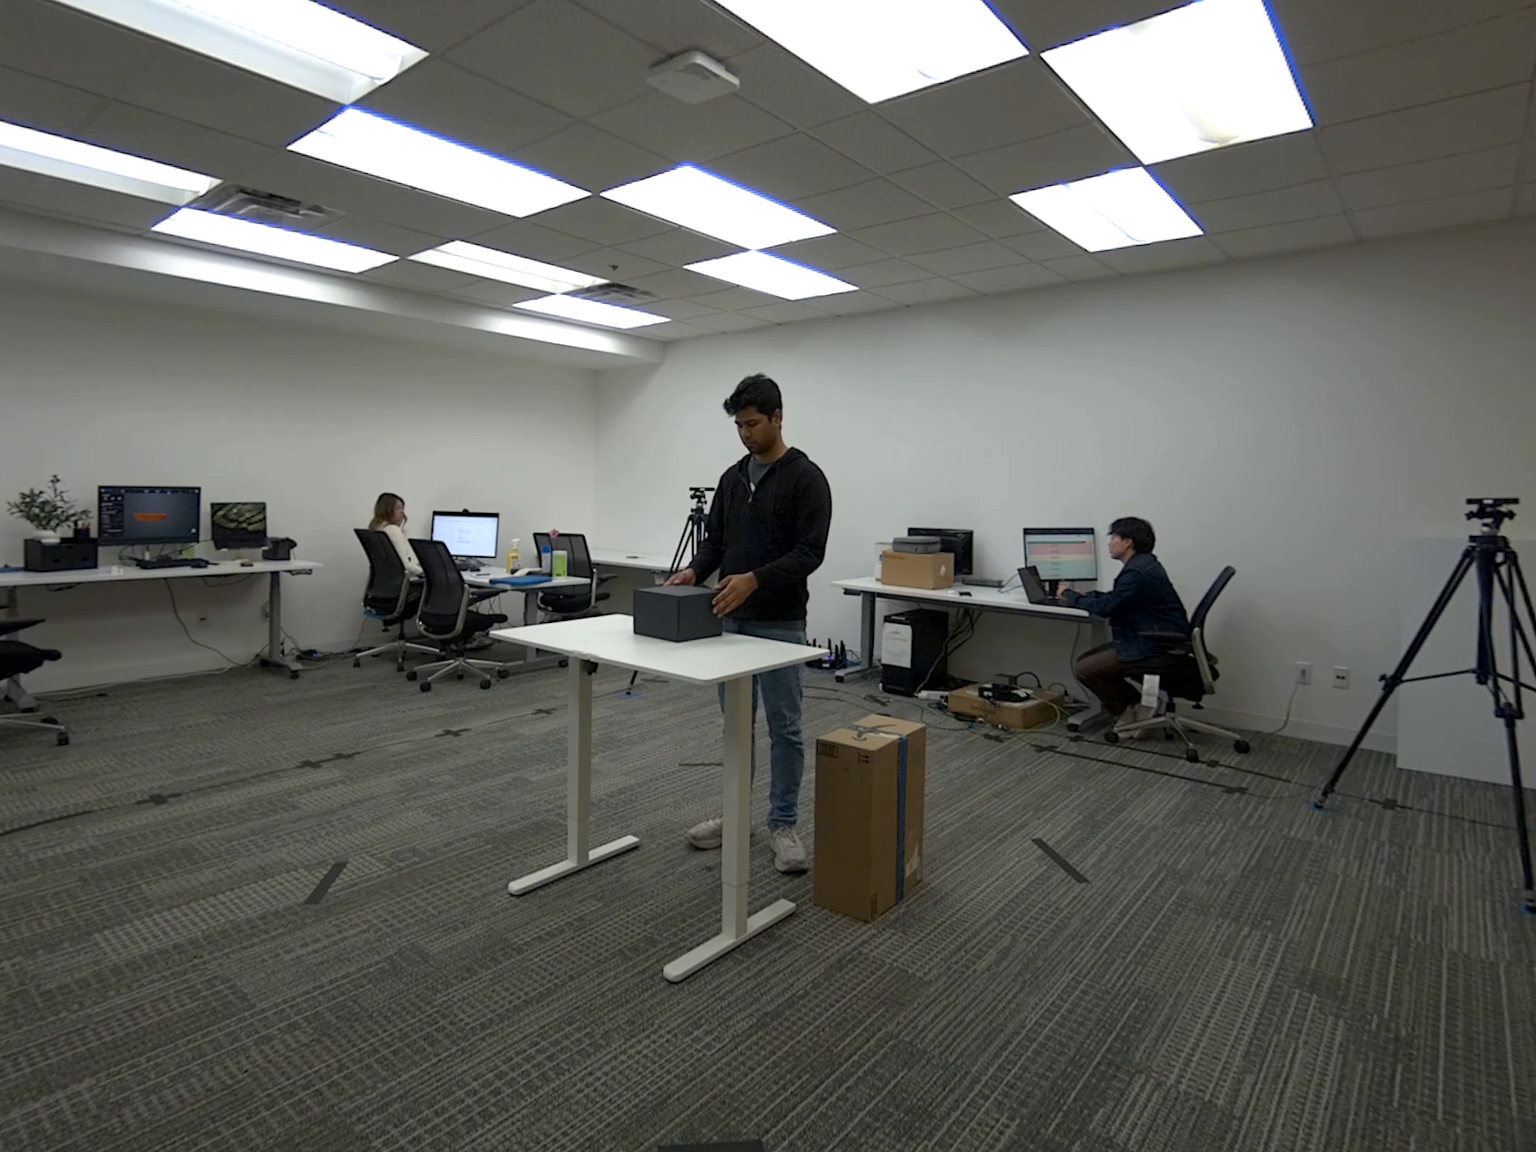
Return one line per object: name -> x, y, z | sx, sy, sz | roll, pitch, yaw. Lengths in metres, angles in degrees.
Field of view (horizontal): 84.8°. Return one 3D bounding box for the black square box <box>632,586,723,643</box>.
black square box -> -0.316, 0.119, 2.913 | 0.236, 0.155, 0.210 | 6, 7, 43
